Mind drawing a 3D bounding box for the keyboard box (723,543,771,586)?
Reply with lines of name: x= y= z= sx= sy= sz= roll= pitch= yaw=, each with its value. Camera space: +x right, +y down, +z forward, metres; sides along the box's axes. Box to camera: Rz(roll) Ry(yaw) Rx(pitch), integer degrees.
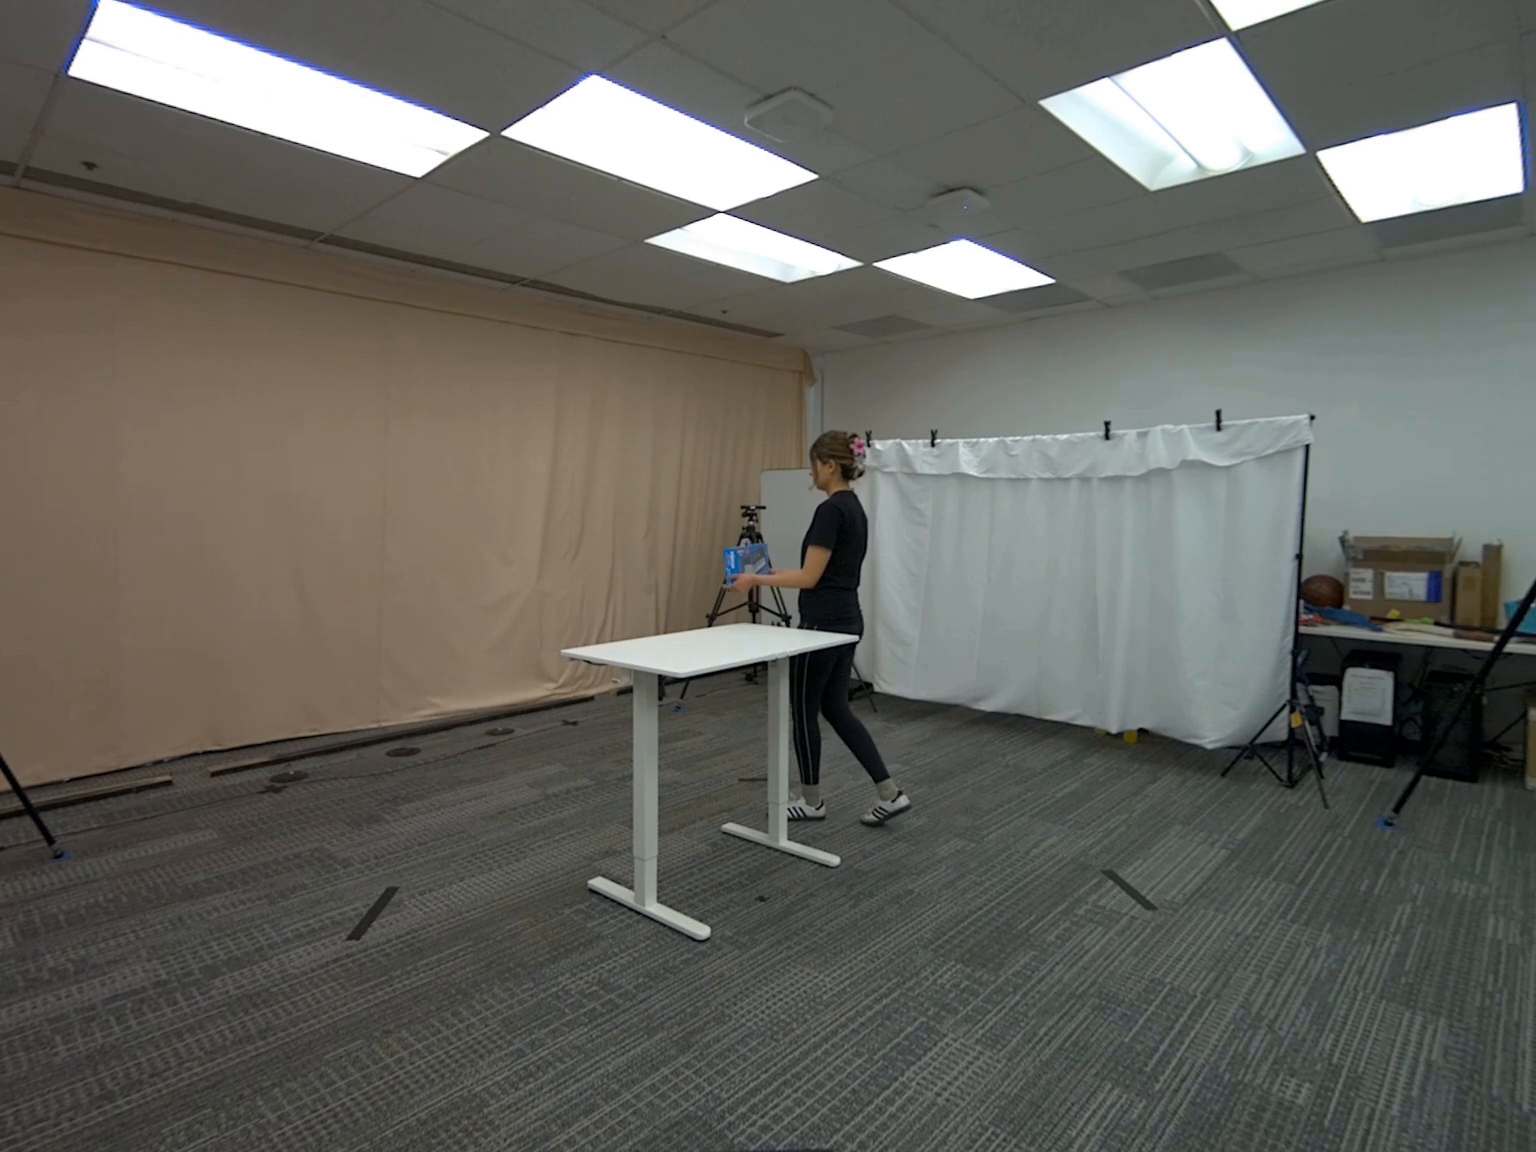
keyboard box: x=-0.085 y=-0.048 z=3.857 sx=0.060 sy=0.175 sz=0.429 roll=-2 pitch=4 yaw=20
